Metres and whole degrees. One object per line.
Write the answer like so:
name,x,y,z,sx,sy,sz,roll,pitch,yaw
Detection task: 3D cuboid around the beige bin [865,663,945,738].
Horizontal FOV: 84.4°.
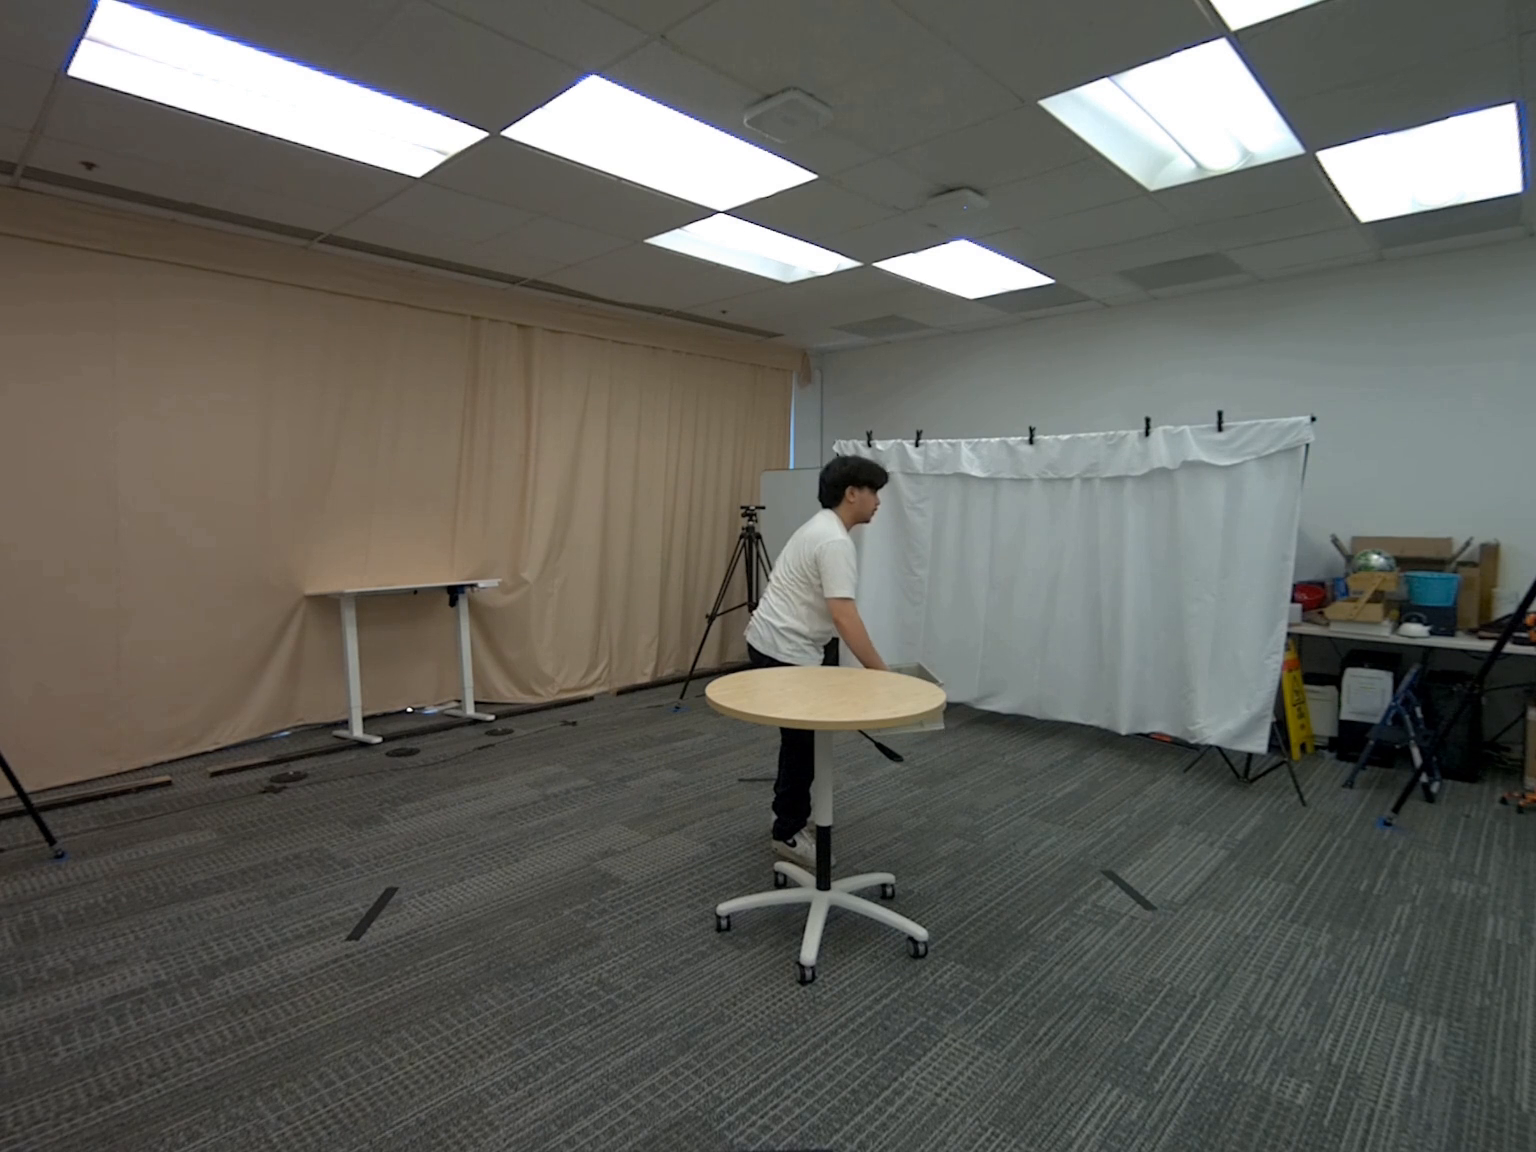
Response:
beige bin,0.490,0.488,3.408,0.379,0.188,0.422,-3,5,2
